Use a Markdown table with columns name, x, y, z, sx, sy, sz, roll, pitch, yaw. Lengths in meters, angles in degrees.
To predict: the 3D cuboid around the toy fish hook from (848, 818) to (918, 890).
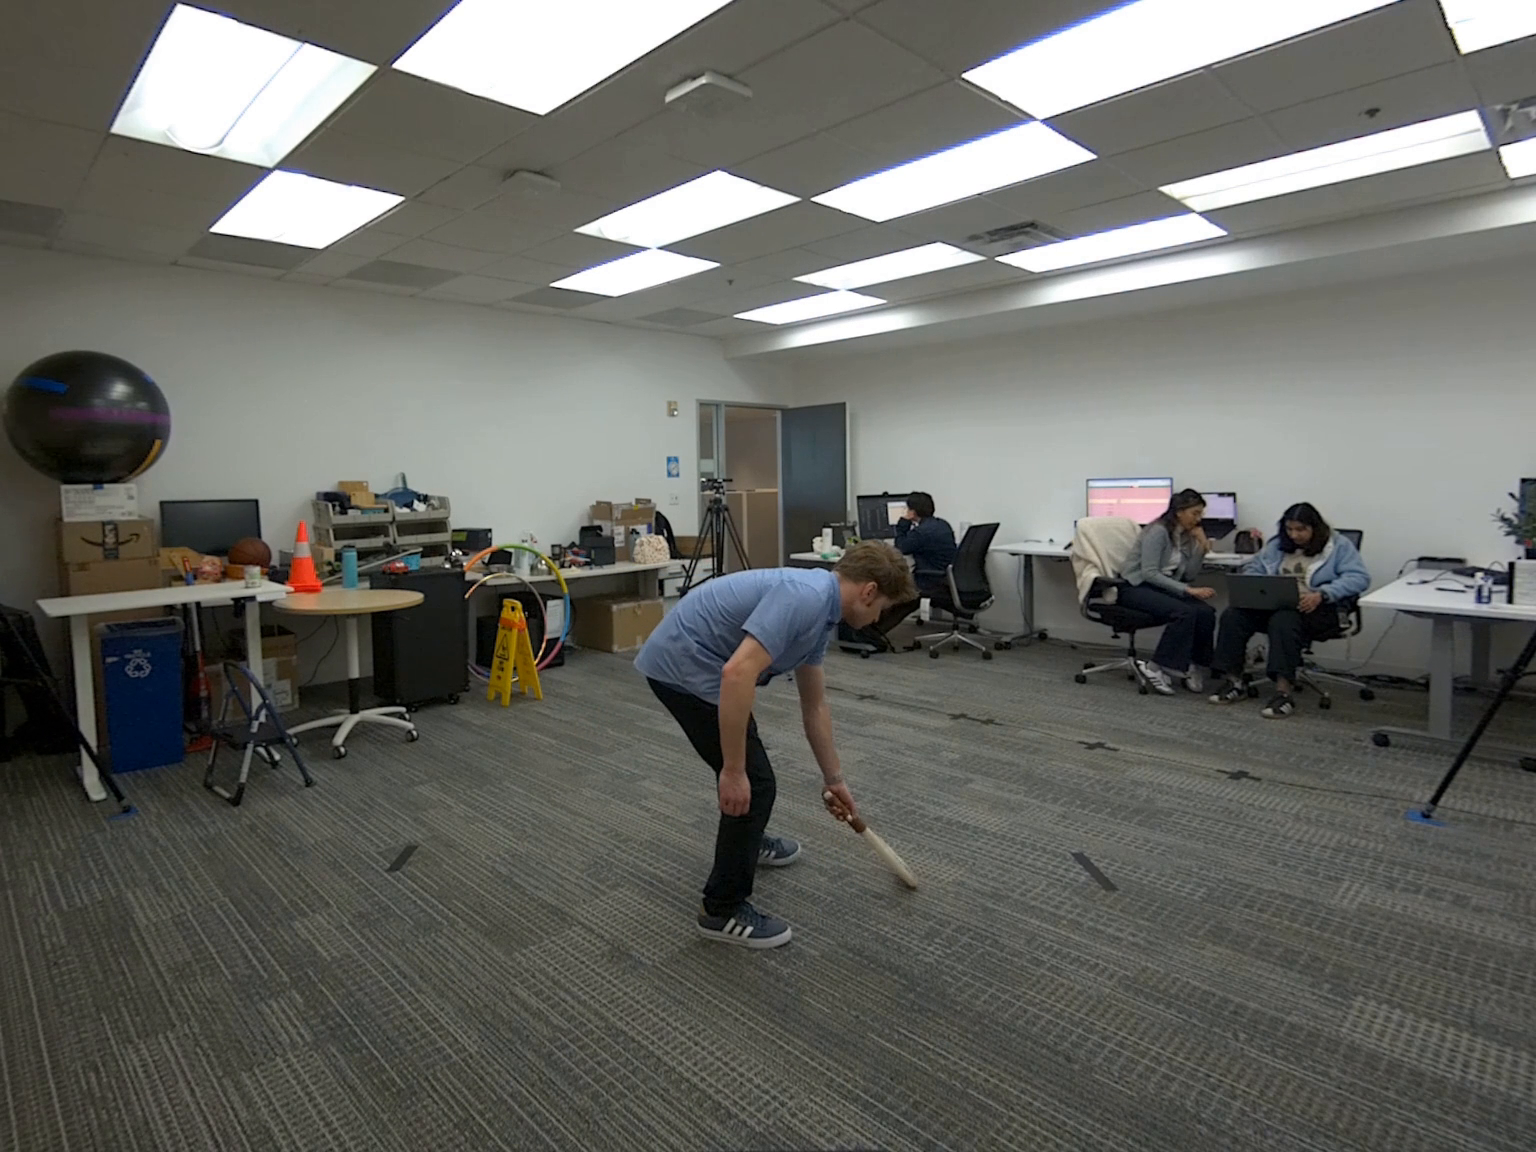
| name | x | y | z | sx | sy | sz | roll | pitch | yaw |
| --- | --- | --- | --- | --- | --- | --- | --- | --- | --- |
| toy fish hook | 0.337 | 0.869 | 2.900 | 0.048 | 0.497 | 0.229 | -44 | 16 | -5 |
